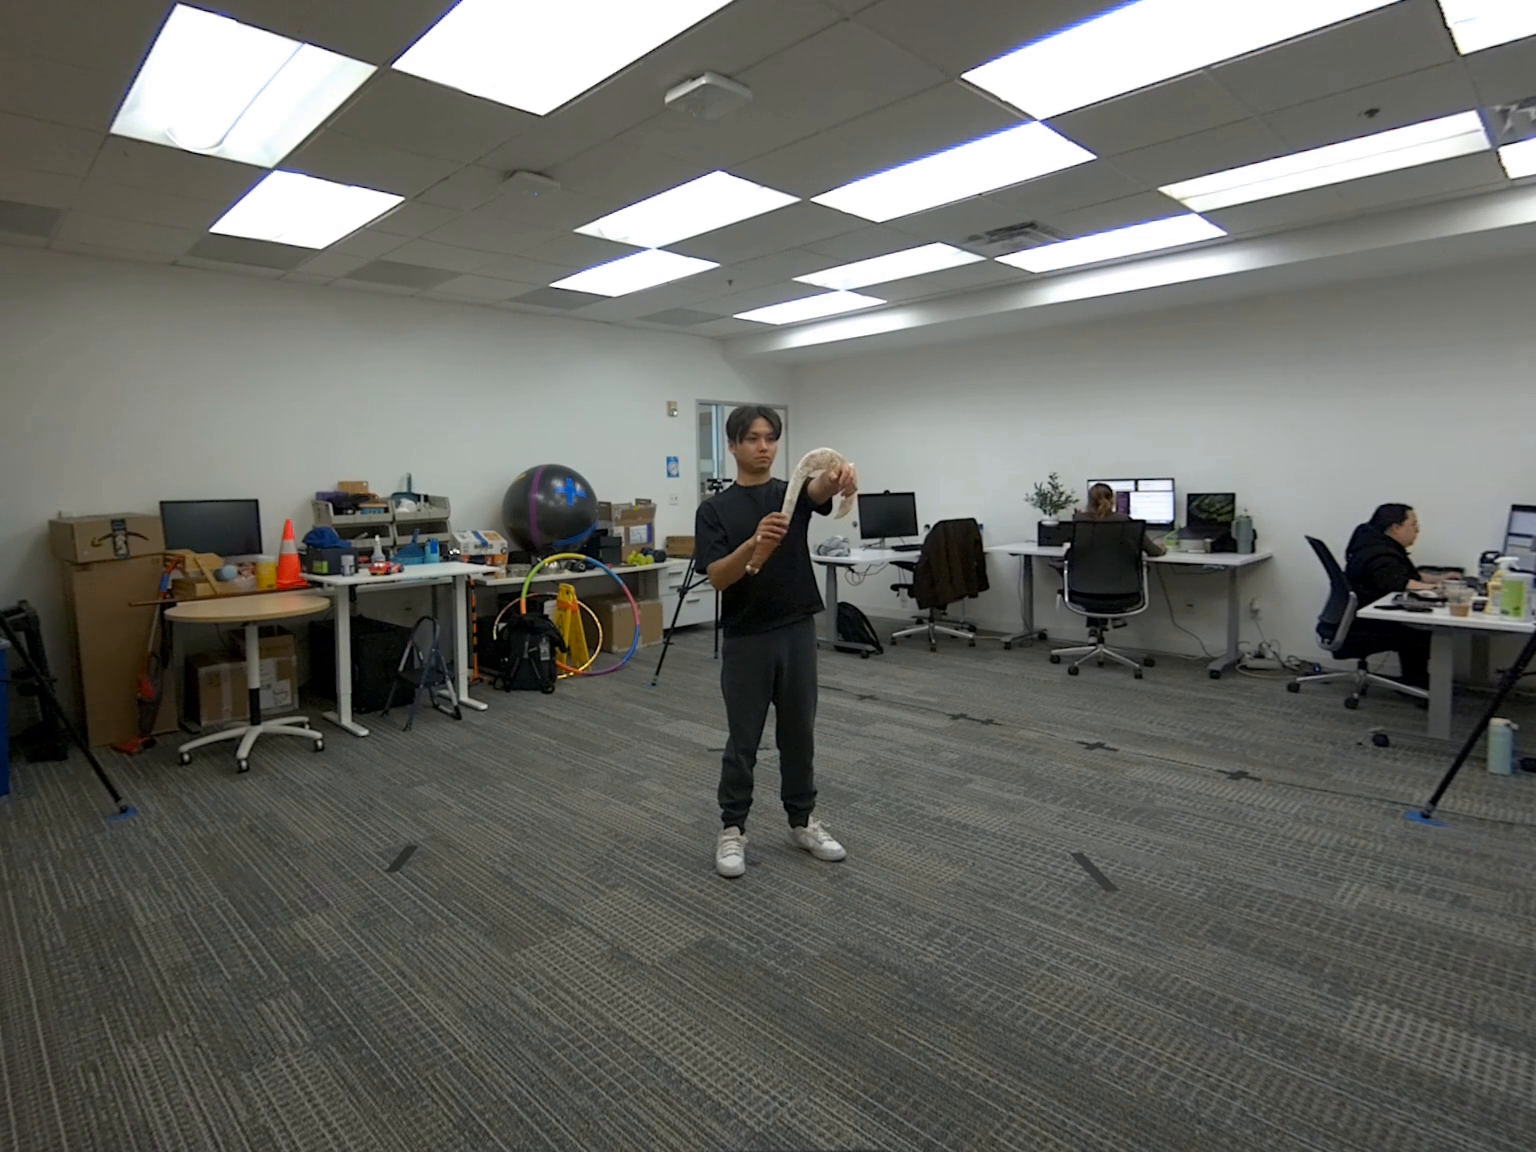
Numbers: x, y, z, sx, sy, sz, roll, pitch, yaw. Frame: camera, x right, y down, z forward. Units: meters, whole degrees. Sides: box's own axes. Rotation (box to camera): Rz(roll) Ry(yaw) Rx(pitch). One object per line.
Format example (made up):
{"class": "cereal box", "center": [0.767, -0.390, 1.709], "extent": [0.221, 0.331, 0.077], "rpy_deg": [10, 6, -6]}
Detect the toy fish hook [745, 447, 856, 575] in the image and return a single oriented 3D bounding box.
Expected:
{"class": "toy fish hook", "center": [0.121, -0.179, 2.761], "extent": [0.225, 0.508, 0.048], "rpy_deg": [31, -13, 0]}
